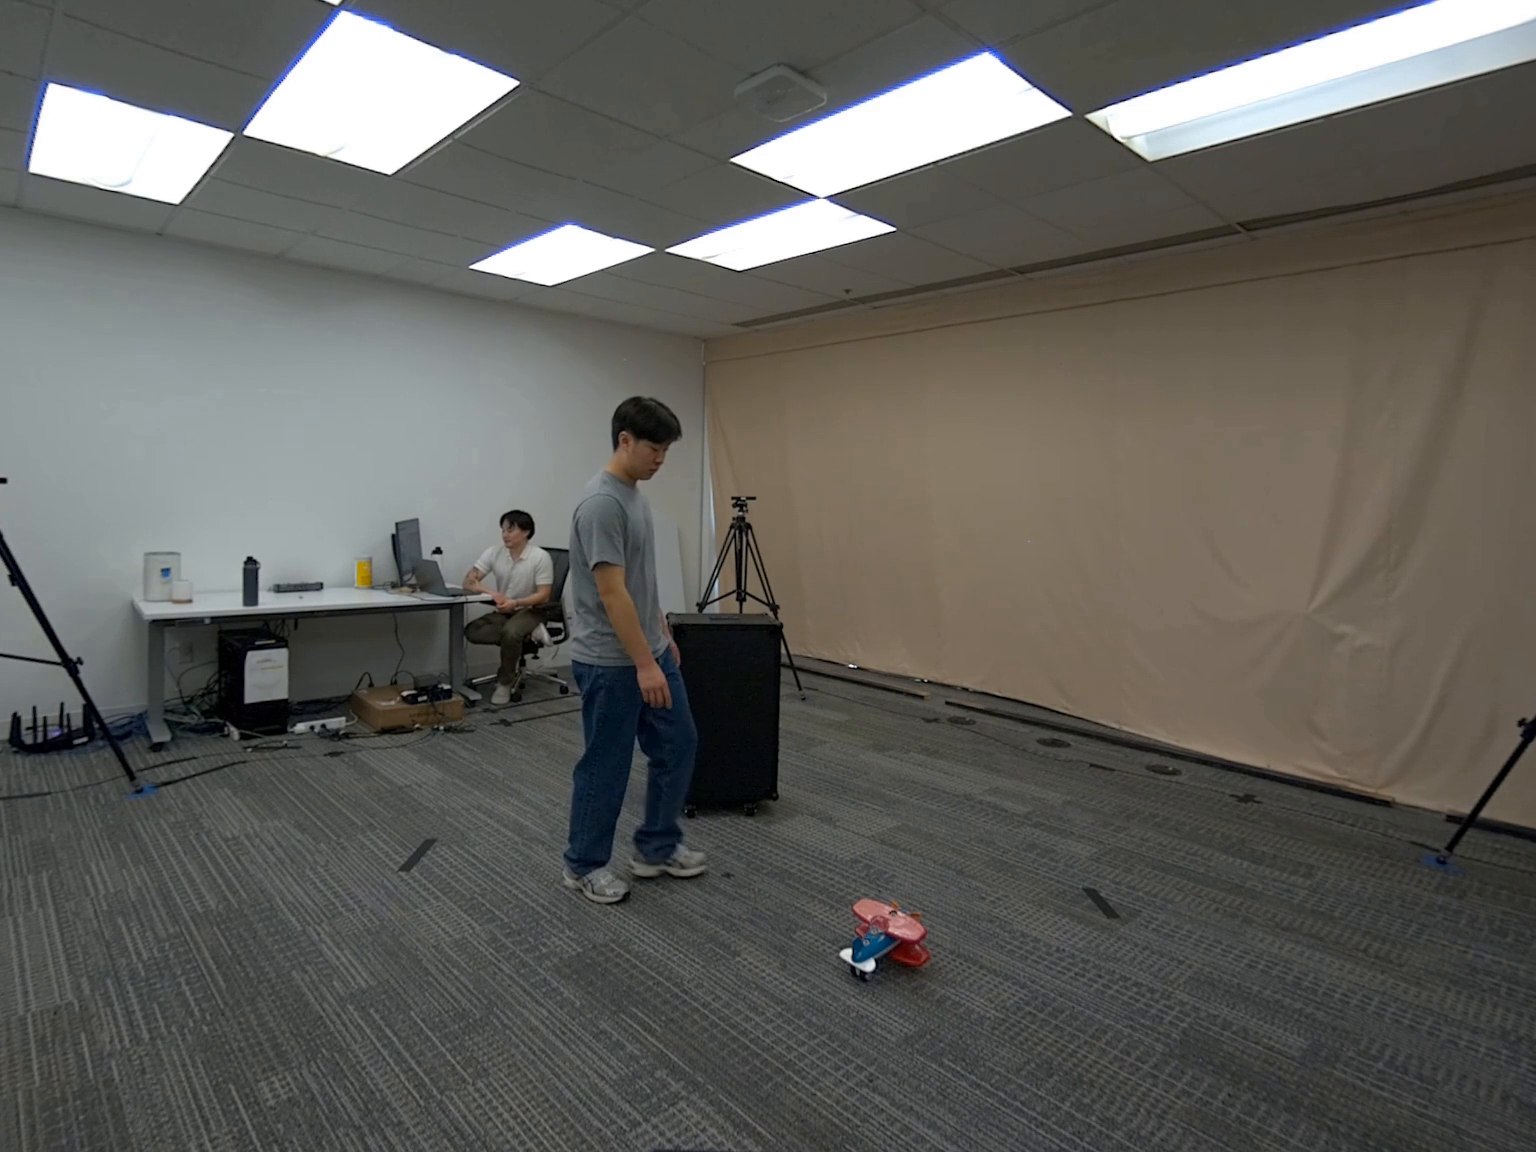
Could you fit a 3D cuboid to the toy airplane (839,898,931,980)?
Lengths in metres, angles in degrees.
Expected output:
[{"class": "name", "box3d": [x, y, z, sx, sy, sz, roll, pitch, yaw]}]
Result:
[{"class": "toy airplane", "box3d": [0.349, 1.102, 2.500, 0.255, 0.156, 0.255, 3, 4, 22]}]
